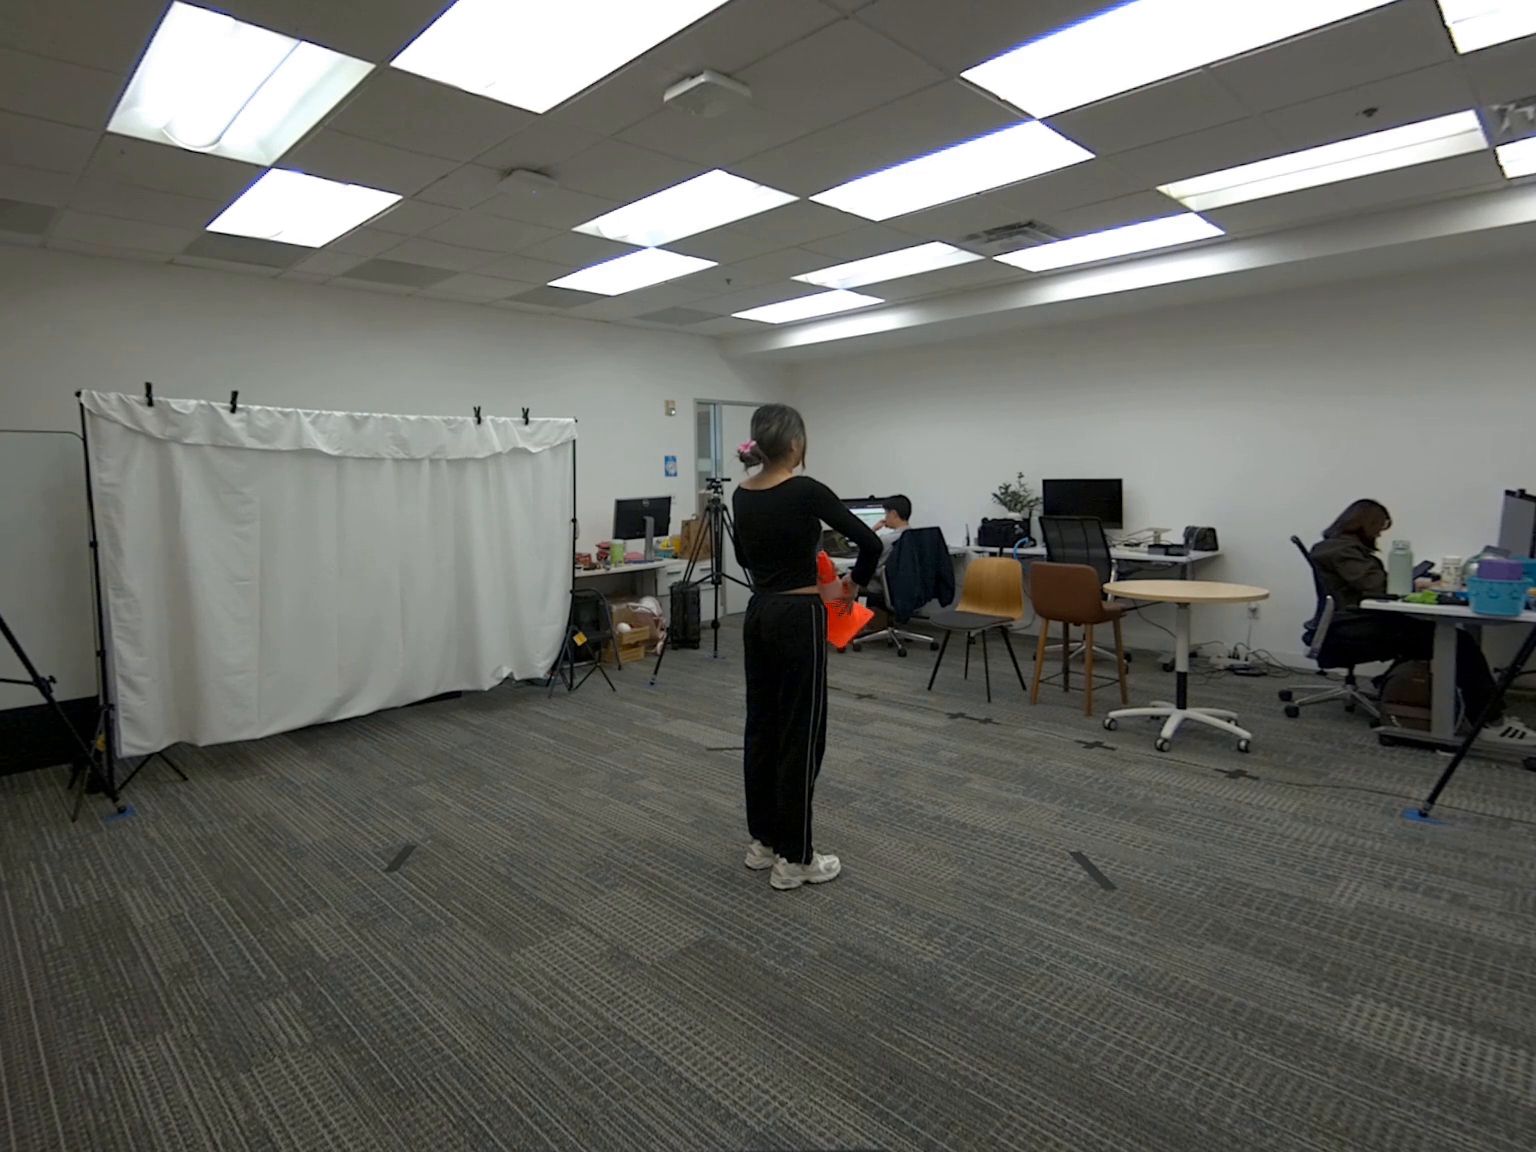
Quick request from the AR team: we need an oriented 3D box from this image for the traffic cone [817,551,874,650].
[{"bbox_3d":[0.236,0.049,3.146,0.202,0.370,0.213,-38,52,-19],"label":"traffic cone"}]
